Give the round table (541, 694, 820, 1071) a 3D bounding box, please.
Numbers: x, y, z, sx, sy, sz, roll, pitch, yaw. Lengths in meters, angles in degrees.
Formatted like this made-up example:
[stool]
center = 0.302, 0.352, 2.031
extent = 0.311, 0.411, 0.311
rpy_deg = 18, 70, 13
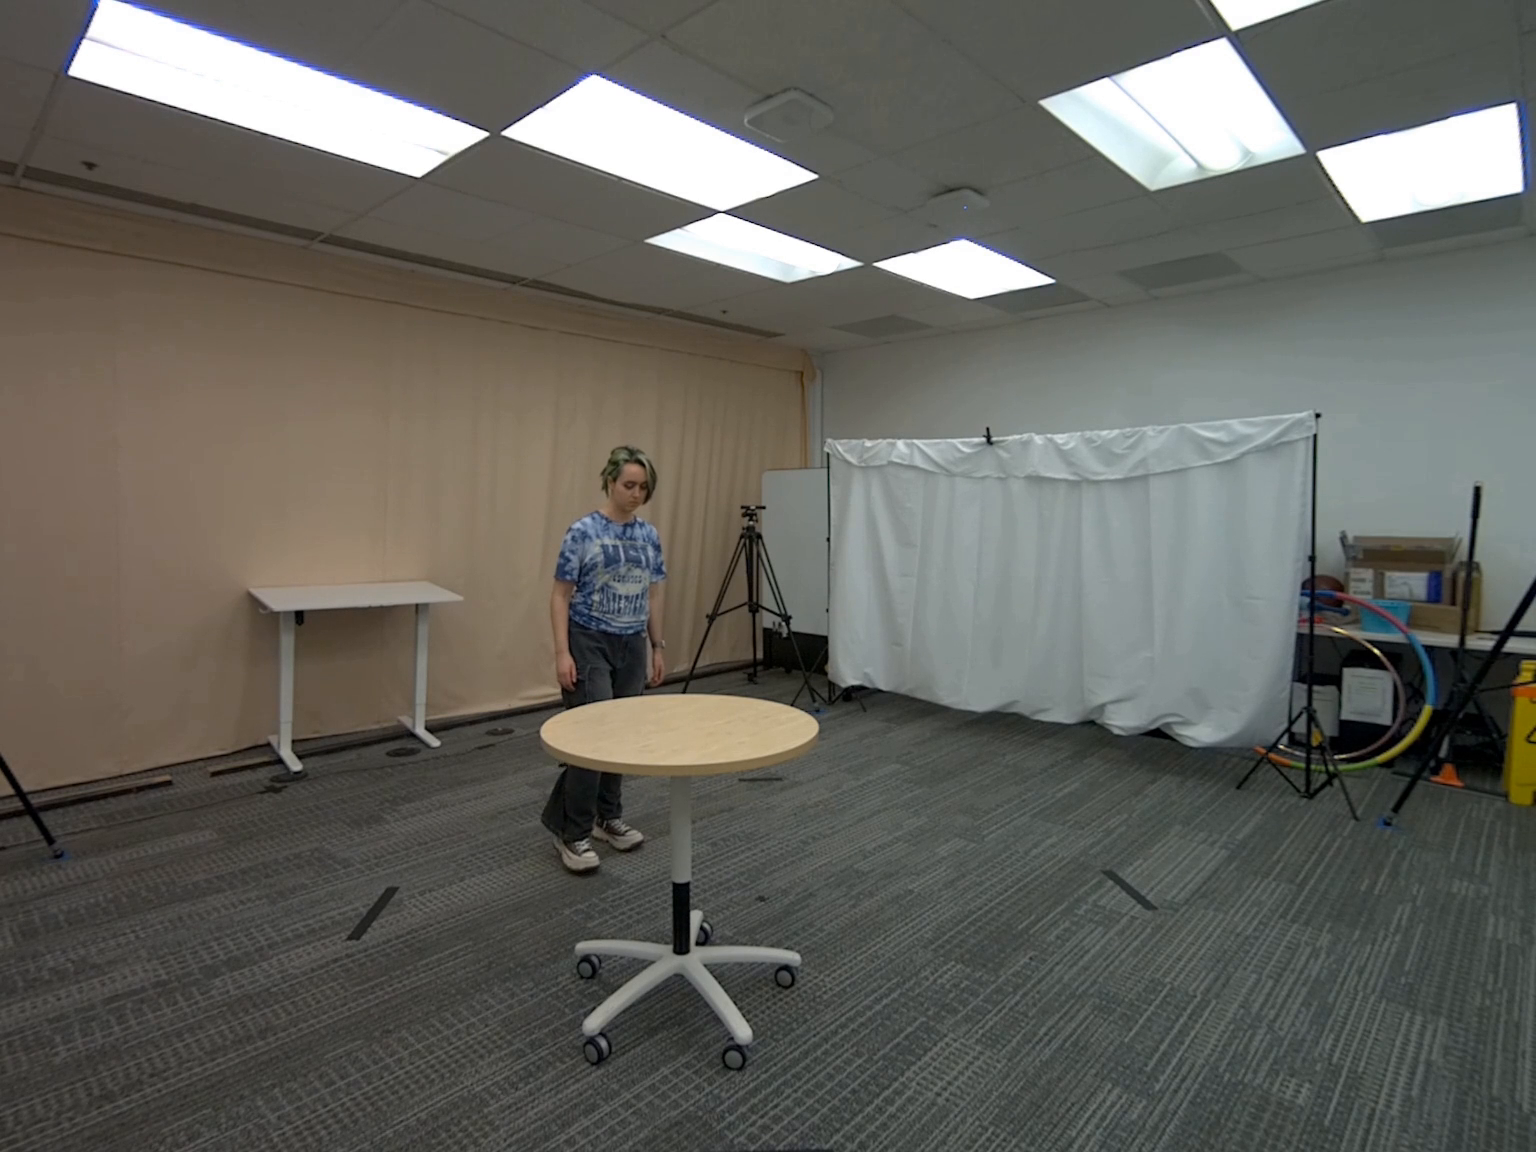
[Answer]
[round table]
center = -0.239, 0.810, 2.359
extent = 0.763, 0.792, 0.767
rpy_deg = -1, 4, -2
